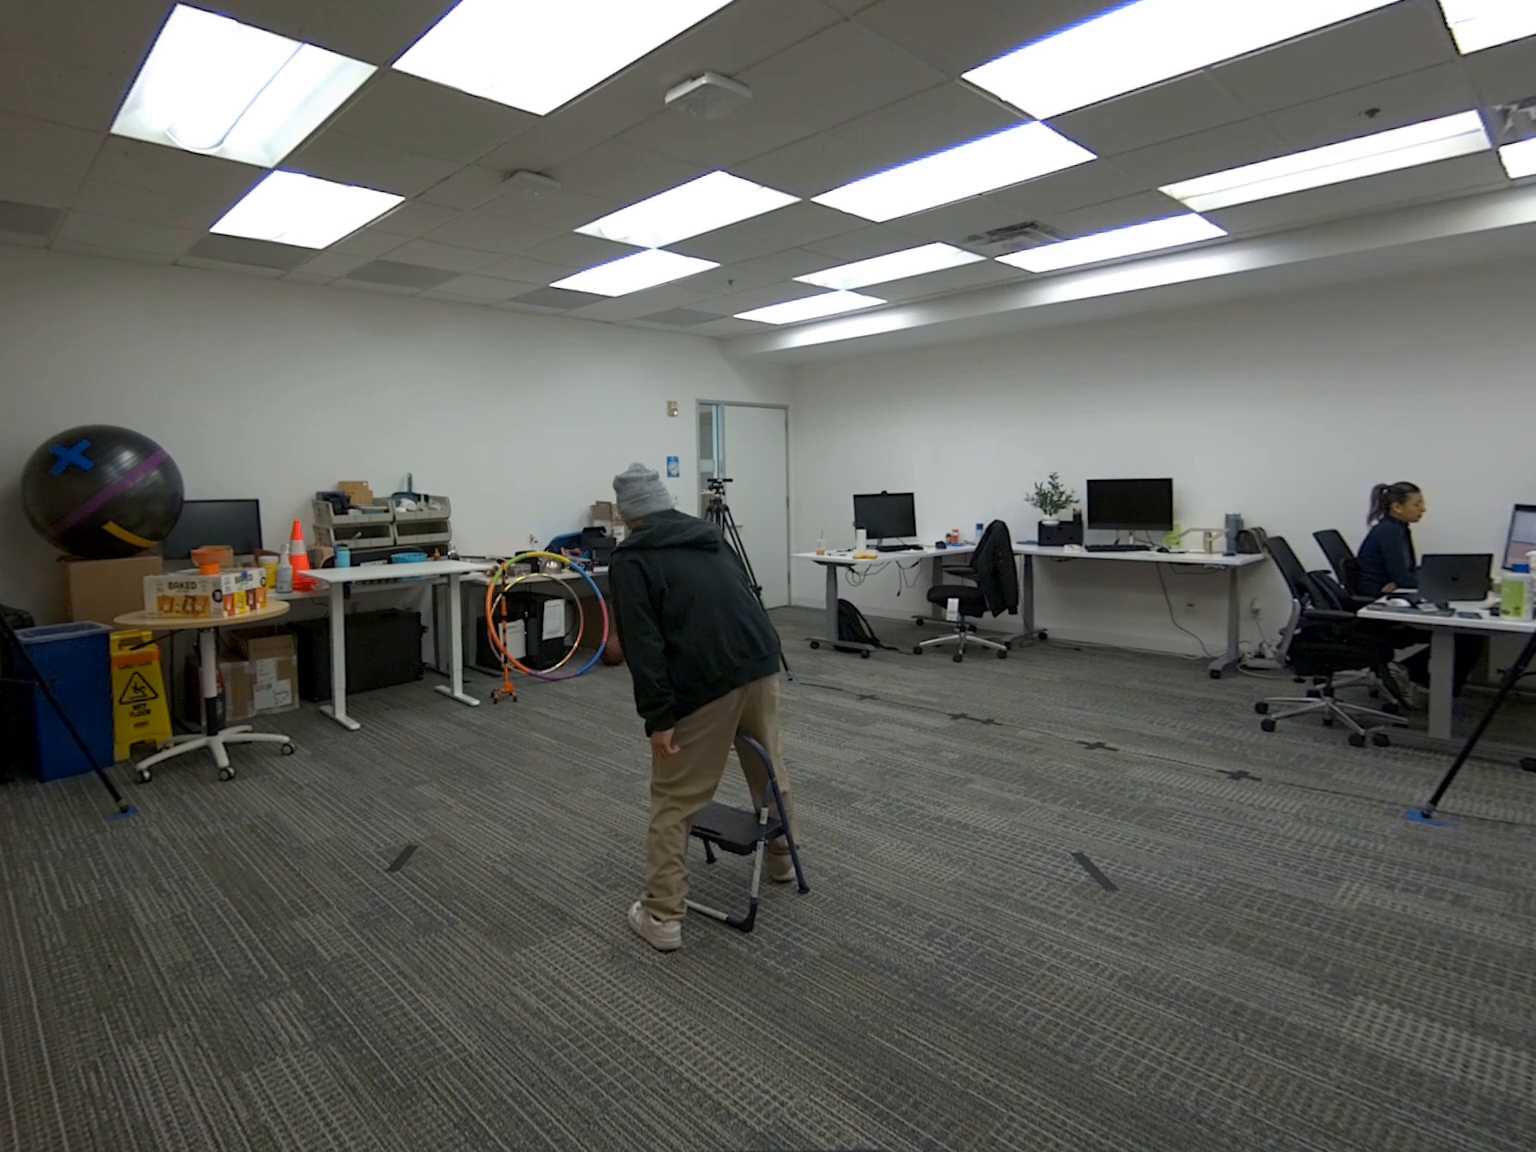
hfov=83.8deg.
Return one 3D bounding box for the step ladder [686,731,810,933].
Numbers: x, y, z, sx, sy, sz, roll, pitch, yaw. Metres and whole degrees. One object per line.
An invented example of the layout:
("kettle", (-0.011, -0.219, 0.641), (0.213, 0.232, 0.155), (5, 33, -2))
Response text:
("step ladder", (-0.133, 0.773, 2.869), (0.443, 0.604, 0.341), (2, 5, 35))
